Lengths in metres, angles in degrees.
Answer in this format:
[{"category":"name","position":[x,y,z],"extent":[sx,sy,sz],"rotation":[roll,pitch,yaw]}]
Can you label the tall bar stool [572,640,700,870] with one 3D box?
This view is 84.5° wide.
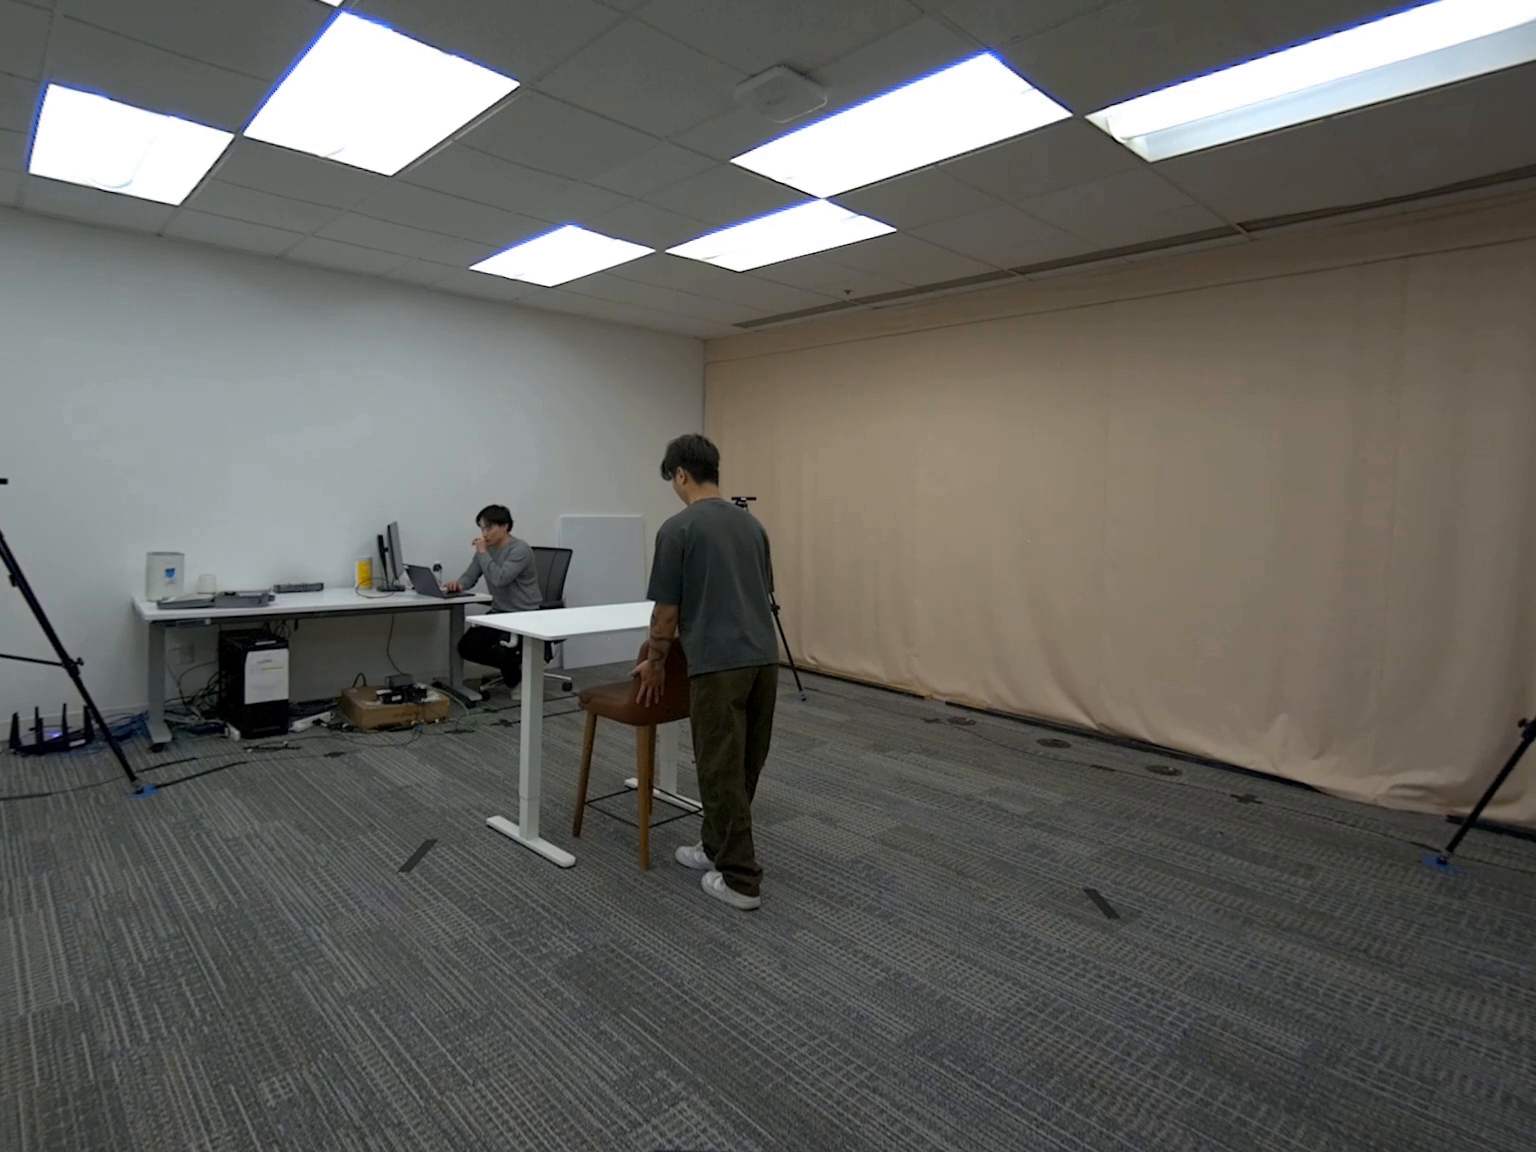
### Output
[{"category":"tall bar stool","position":[-0.483,0.633,3.382],"extent":[0.446,0.887,0.480],"rotation":[-1,7,-45]}]
